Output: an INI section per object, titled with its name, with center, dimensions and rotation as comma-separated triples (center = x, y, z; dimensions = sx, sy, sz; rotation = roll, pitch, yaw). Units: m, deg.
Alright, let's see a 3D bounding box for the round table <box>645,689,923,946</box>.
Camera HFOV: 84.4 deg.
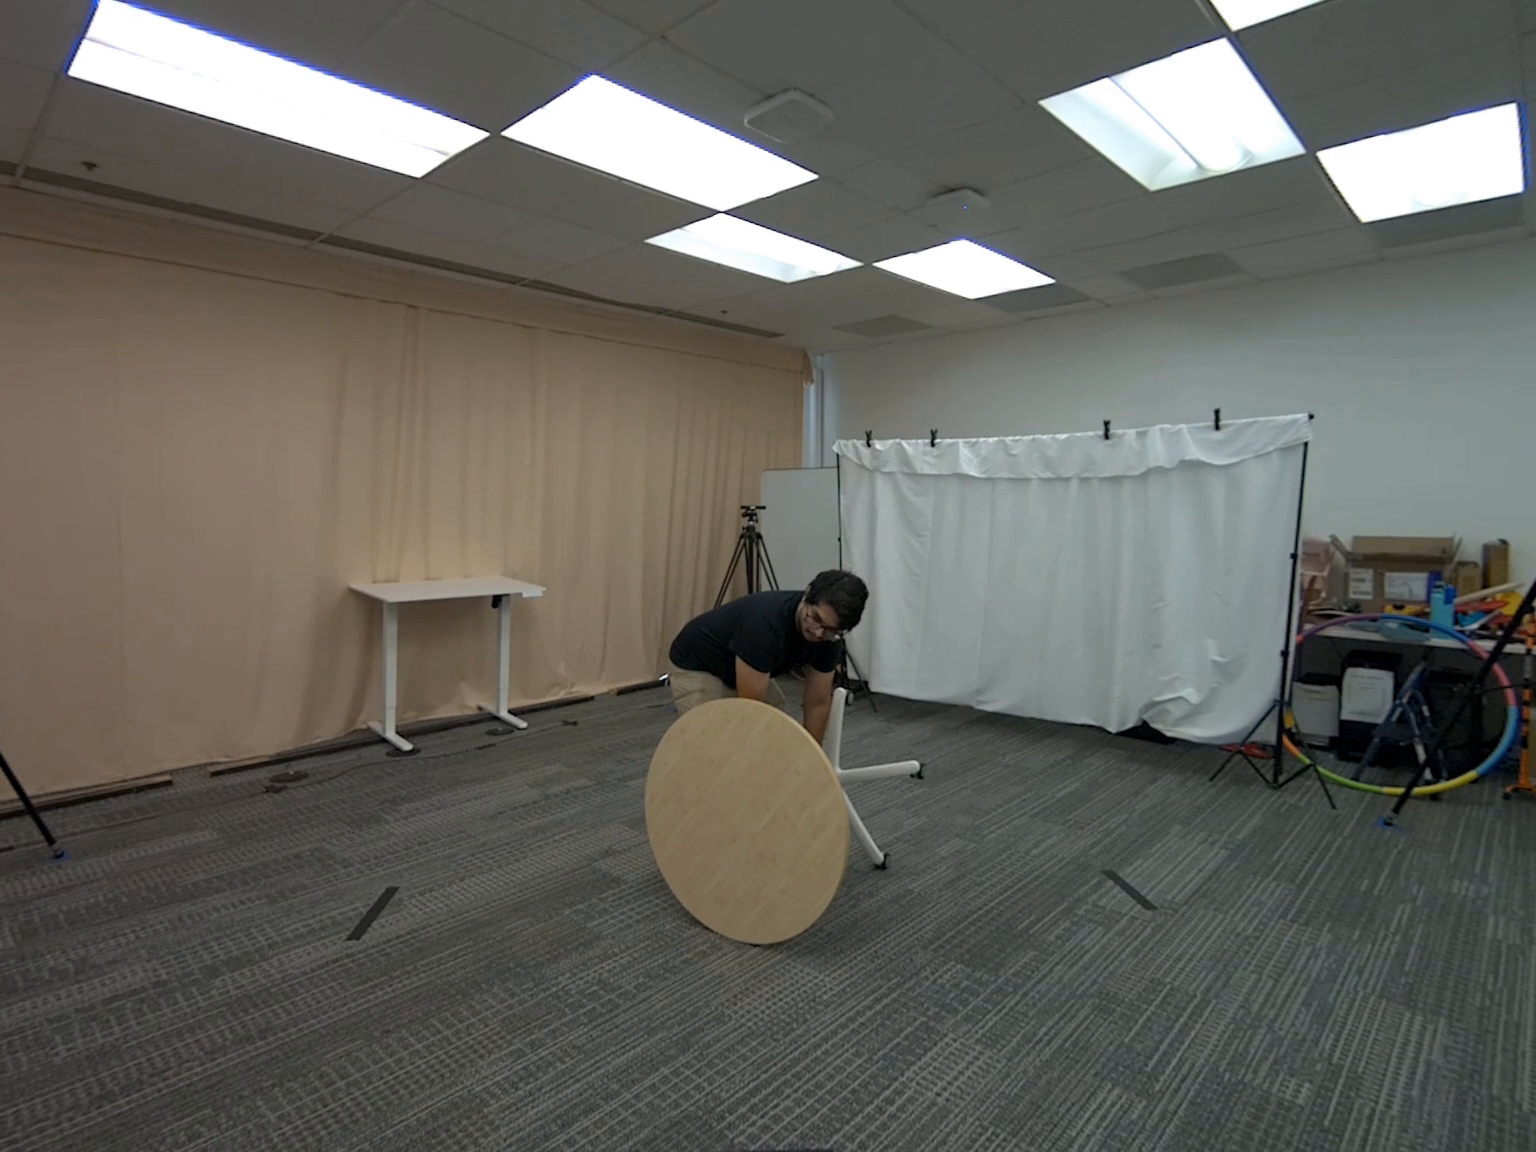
[round table]
center = 0.111, 0.780, 3.037
dimensions = 0.809, 0.785, 0.763
rotation = 2, 1, 32
